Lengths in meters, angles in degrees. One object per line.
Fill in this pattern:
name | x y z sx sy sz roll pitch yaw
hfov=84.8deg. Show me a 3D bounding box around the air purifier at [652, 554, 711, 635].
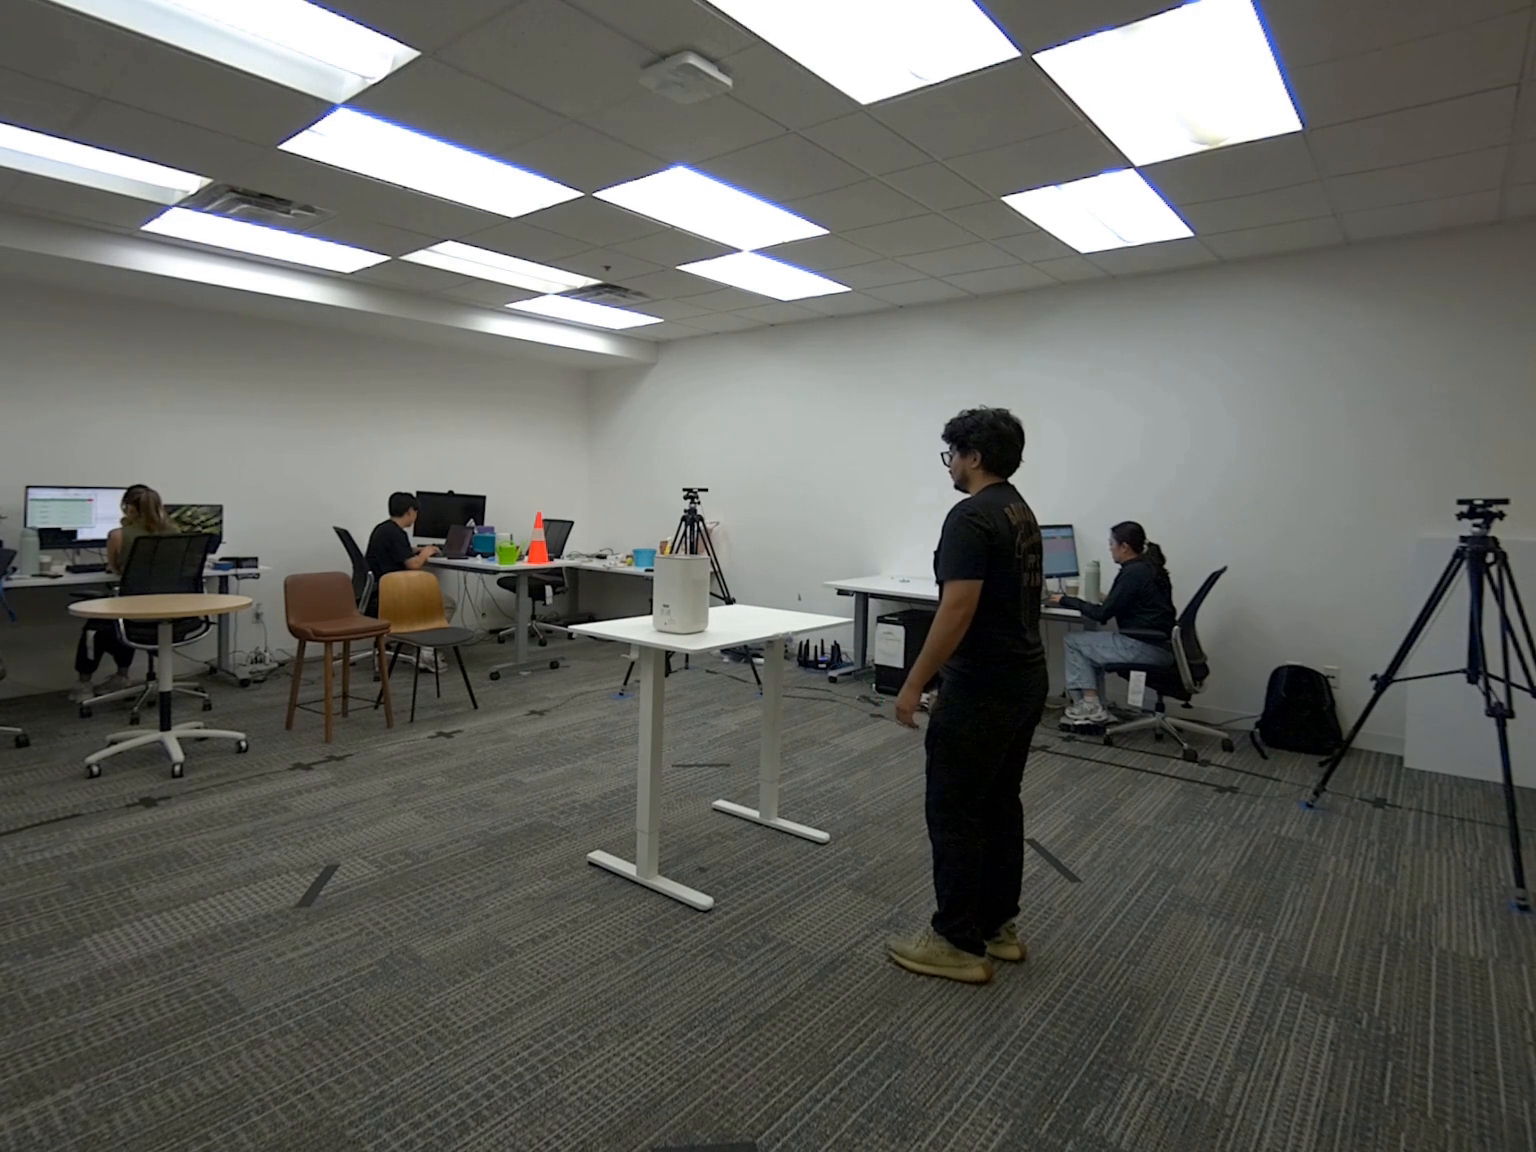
air purifier | -0.319 0.060 3.004 0.176 0.265 0.167 3 3 32
